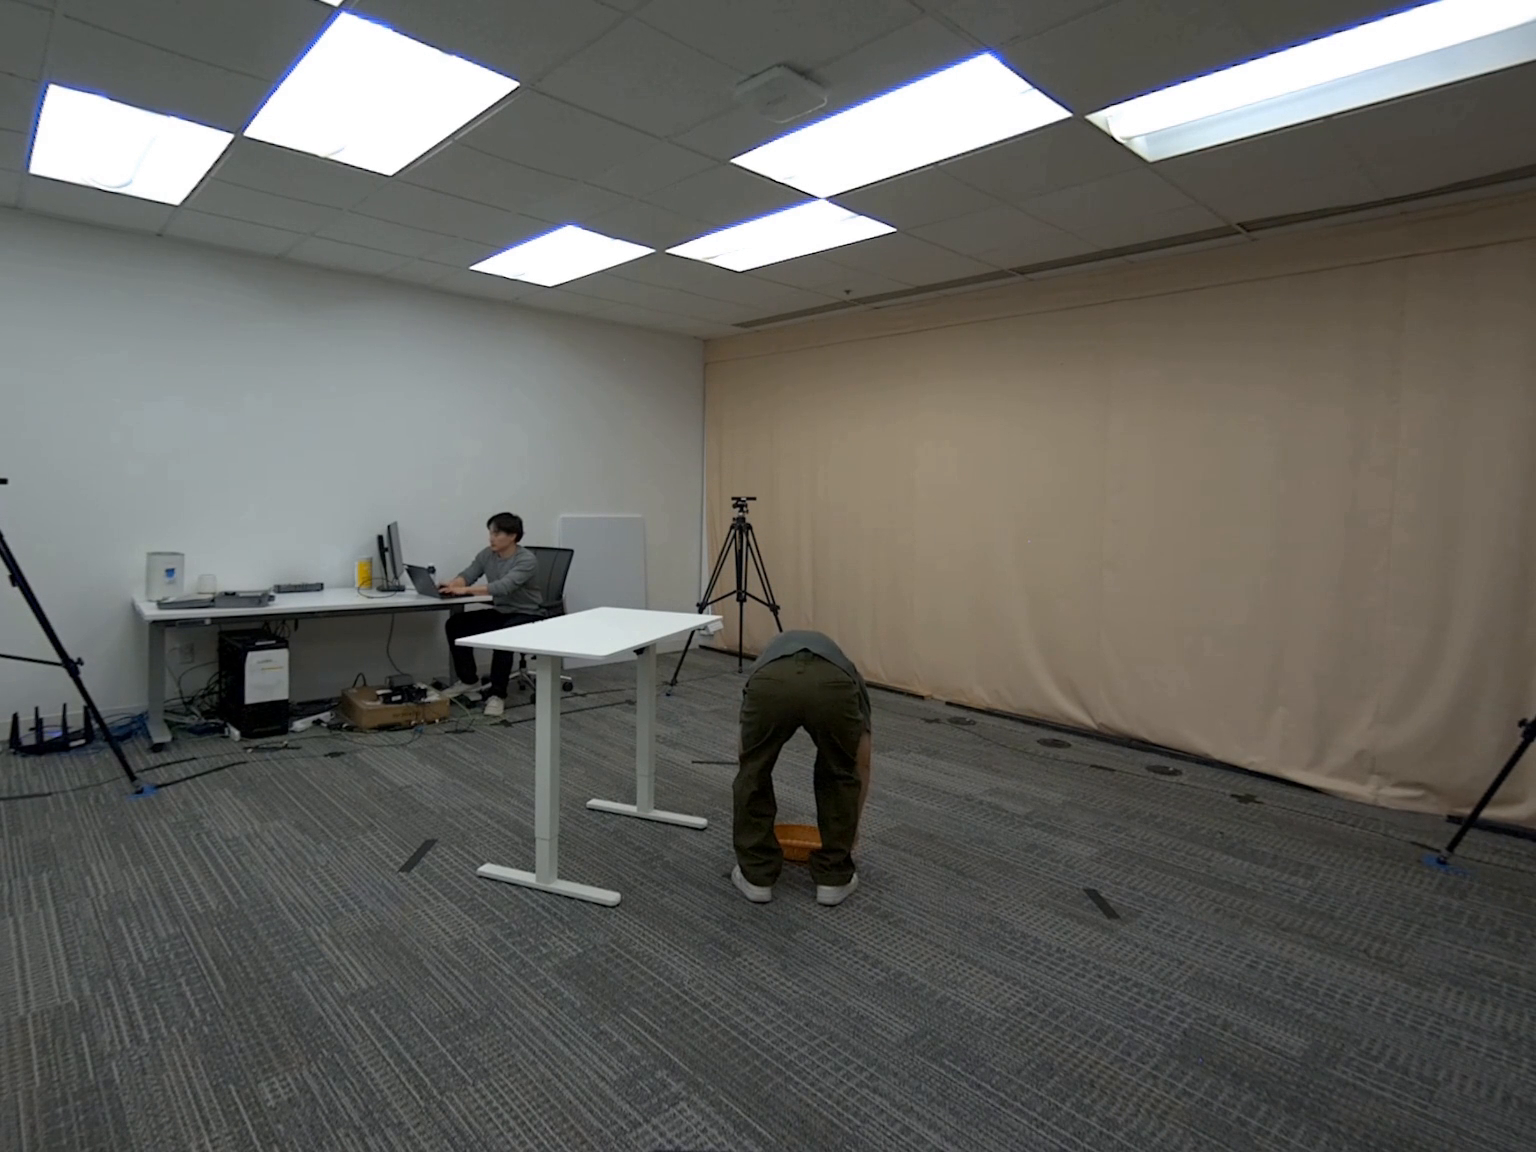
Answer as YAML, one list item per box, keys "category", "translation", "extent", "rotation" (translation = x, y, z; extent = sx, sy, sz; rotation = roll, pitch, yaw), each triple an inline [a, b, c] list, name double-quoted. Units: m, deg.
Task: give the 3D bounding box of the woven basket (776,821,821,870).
- category: "woven basket"
  translation: [0.133, 1.051, 3.297]
  extent: [0.355, 0.073, 0.249]
  rotation: [3, 3, 18]
